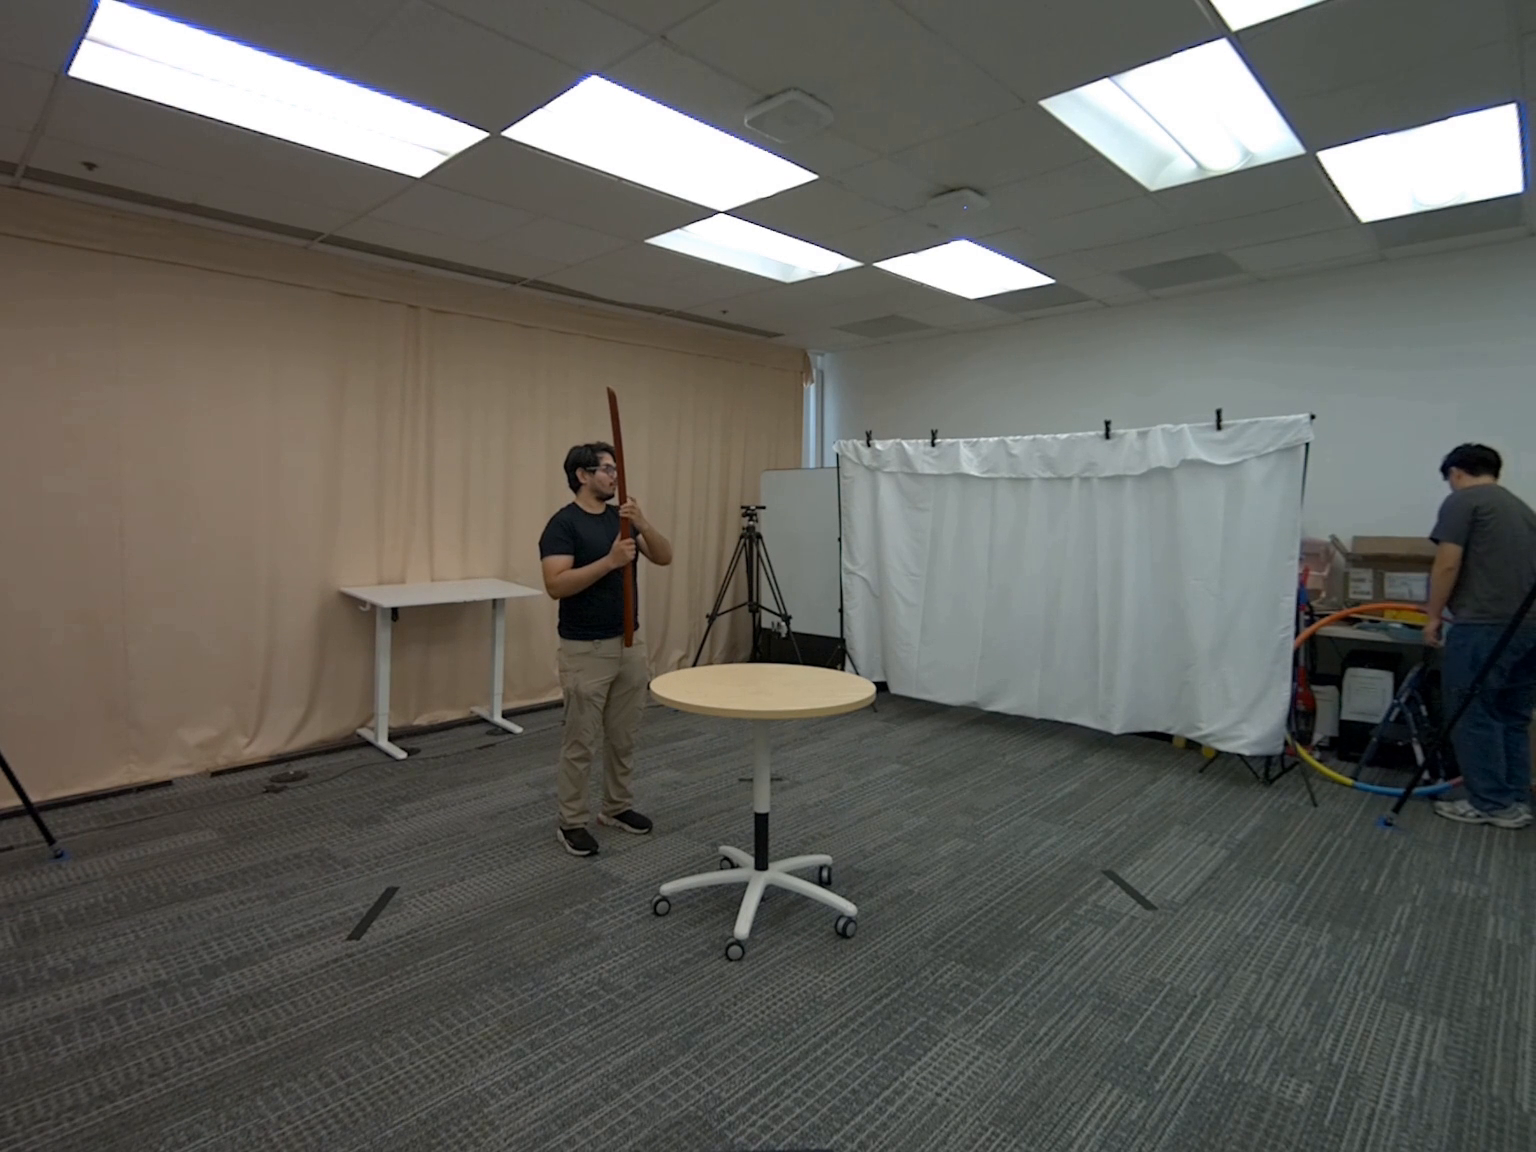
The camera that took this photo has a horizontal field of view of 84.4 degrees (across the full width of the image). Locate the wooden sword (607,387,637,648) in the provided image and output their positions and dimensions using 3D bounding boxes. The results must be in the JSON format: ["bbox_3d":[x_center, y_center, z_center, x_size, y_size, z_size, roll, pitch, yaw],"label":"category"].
[{"bbox_3d":[-0.565,-0.218,3.247,0.024,1.014,0.051,-1,15,11],"label":"wooden sword"}]
